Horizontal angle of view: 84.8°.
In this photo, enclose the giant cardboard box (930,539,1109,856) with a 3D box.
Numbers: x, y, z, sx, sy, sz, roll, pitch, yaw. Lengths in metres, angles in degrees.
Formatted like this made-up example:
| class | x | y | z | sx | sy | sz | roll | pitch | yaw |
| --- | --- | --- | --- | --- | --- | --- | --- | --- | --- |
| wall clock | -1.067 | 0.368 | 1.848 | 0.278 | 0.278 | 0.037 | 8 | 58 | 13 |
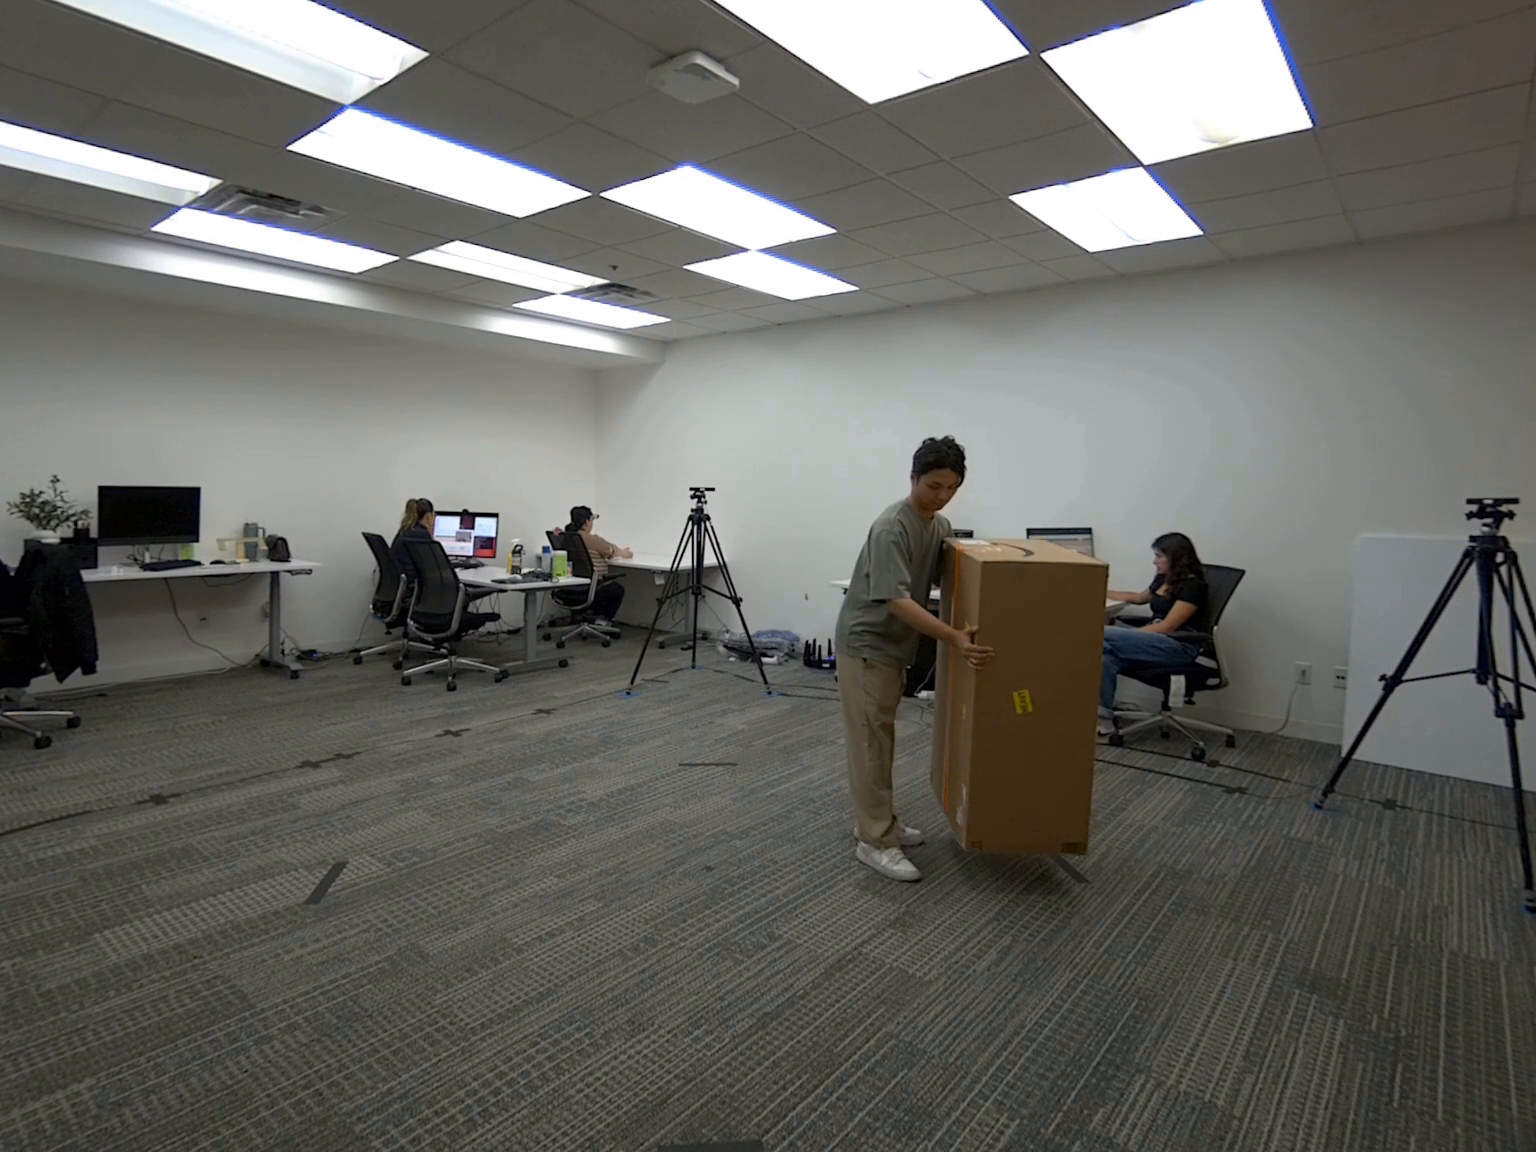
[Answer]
| class | x | y | z | sx | sy | sz | roll | pitch | yaw |
| --- | --- | --- | --- | --- | --- | --- | --- | --- | --- |
| giant cardboard box | 0.895 | 0.408 | 3.159 | 0.425 | 1.018 | 0.584 | 2 | 9 | -5 |
